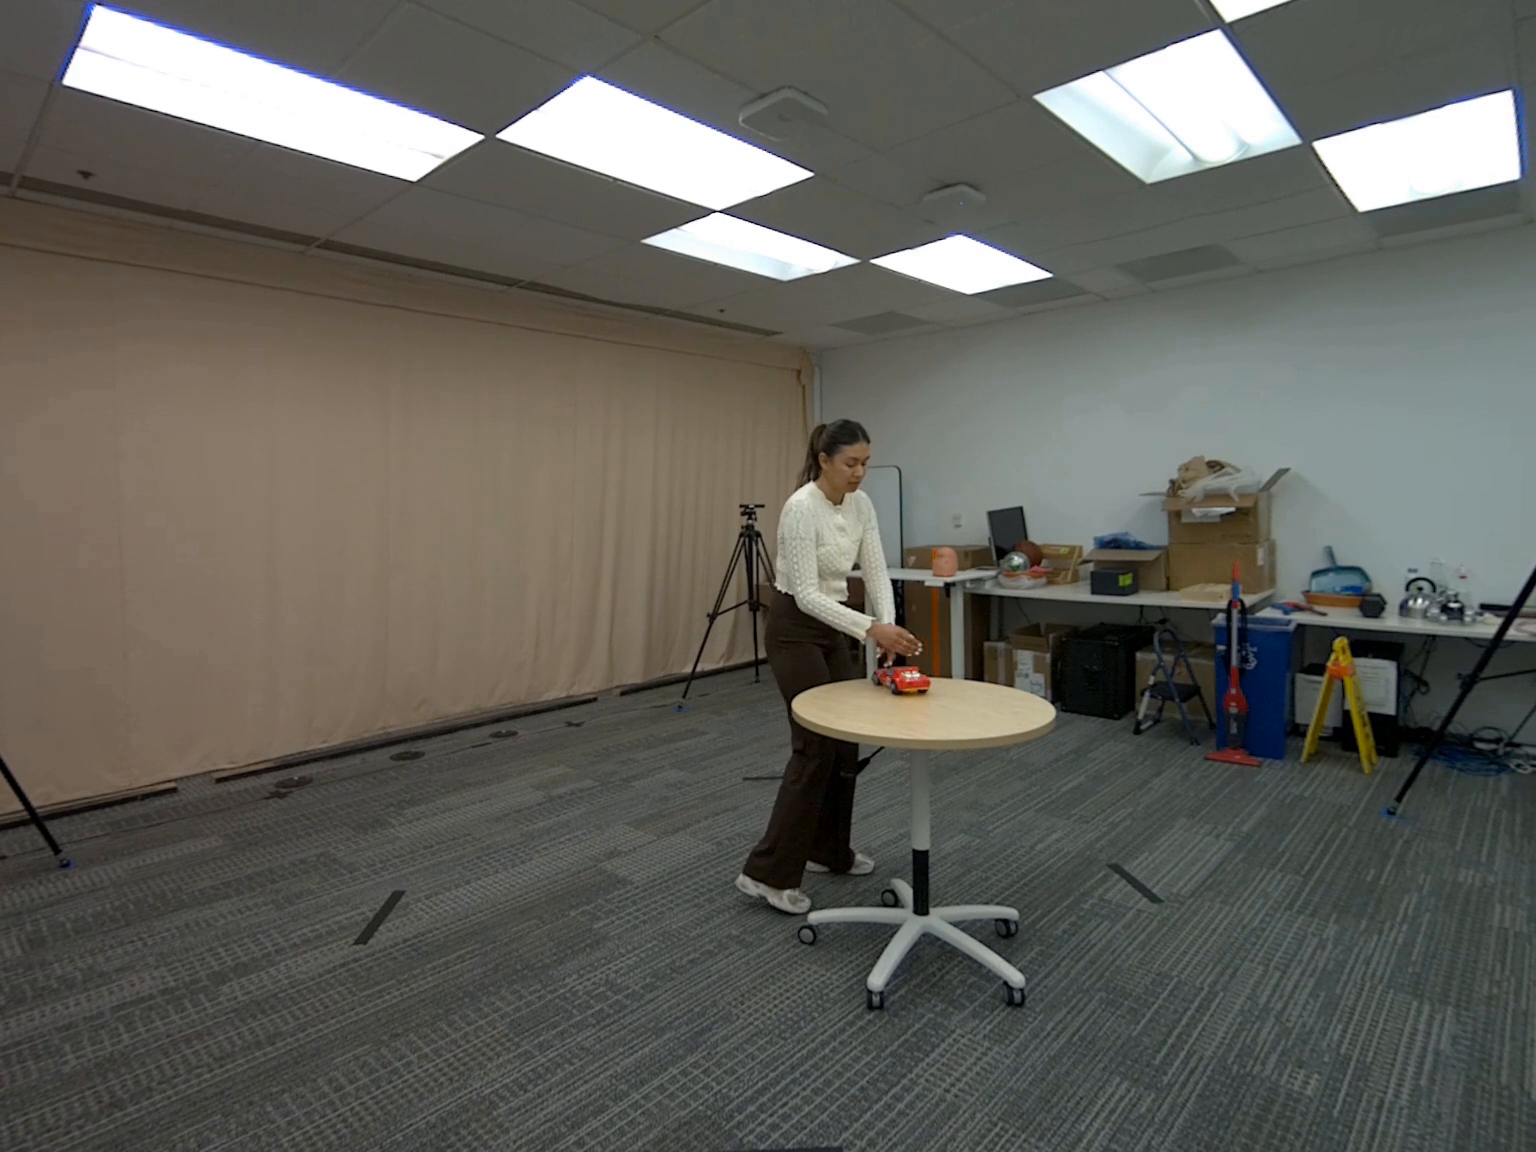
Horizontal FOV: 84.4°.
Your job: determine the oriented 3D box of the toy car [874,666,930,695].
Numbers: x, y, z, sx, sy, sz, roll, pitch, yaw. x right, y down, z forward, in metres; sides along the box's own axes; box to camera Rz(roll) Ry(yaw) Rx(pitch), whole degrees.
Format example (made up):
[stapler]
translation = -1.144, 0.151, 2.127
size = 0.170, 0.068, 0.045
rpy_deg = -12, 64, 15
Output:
[toy car]
translation = 0.443, 0.339, 2.709
size = 0.128, 0.084, 0.256
rpy_deg = -1, -7, -14
